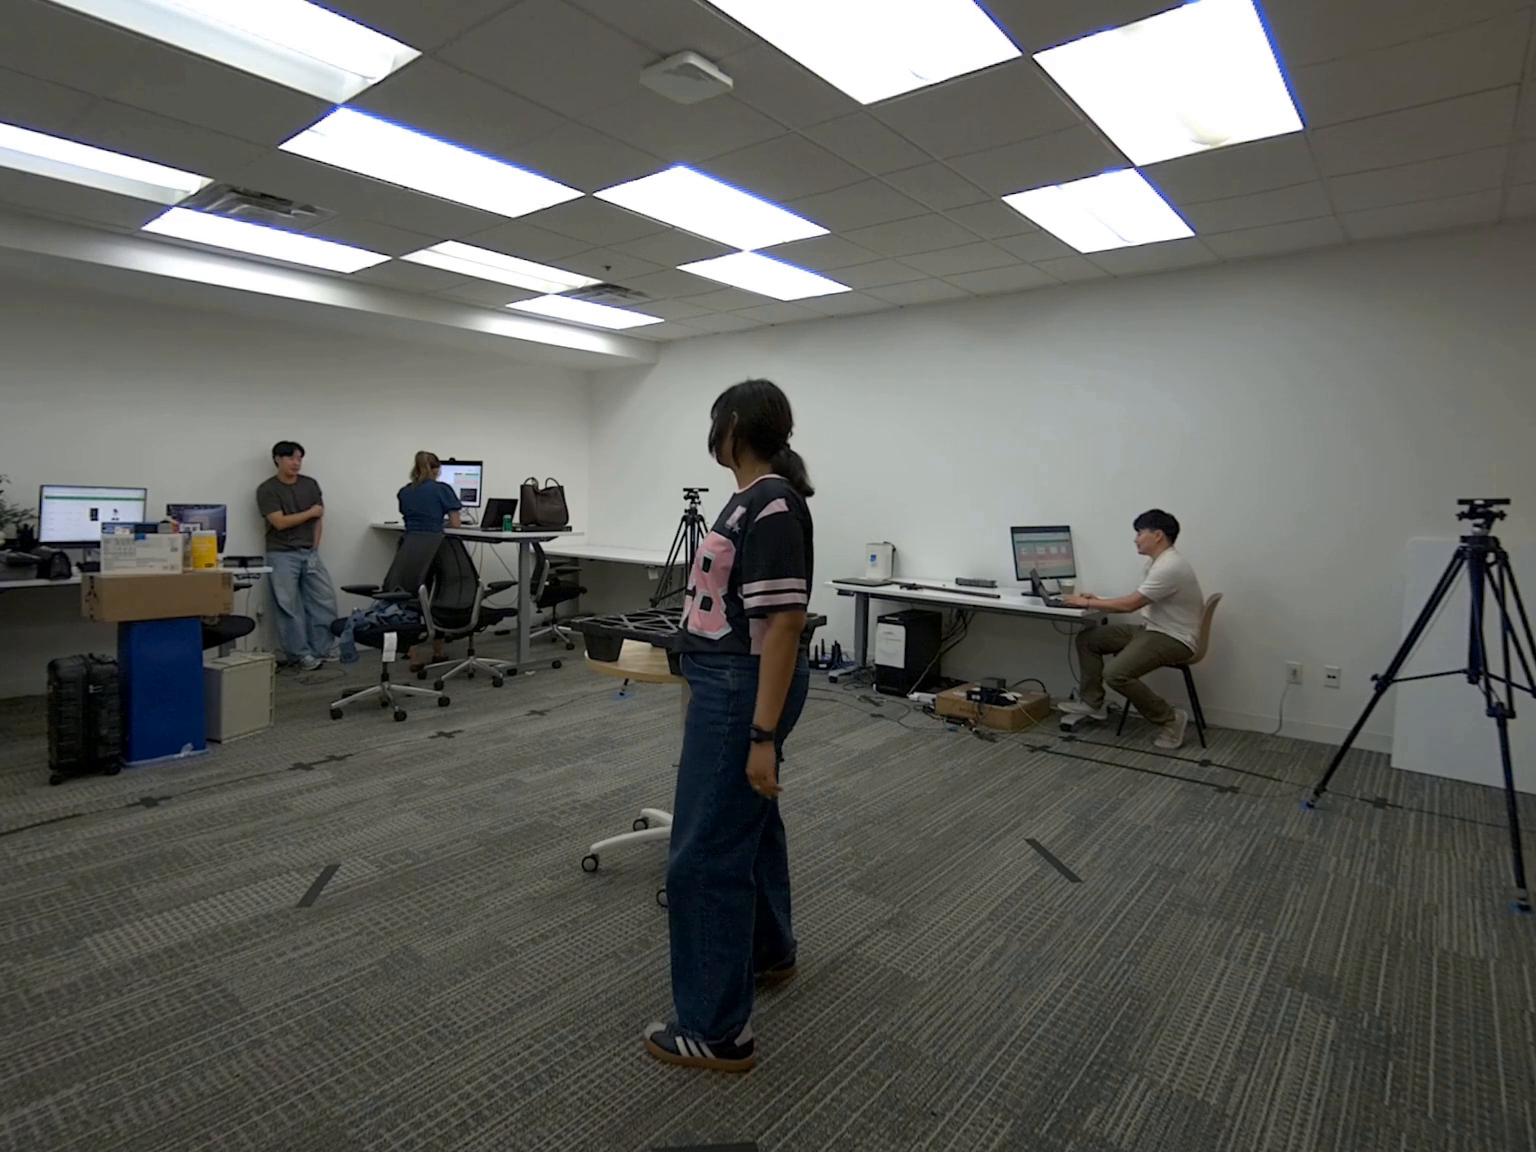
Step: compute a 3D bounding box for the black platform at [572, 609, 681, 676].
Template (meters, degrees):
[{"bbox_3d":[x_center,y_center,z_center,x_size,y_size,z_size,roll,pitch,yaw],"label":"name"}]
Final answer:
[{"bbox_3d":[-0.236,0.221,3.126,0.625,0.143,0.783,6,8,34],"label":"black platform"}]
